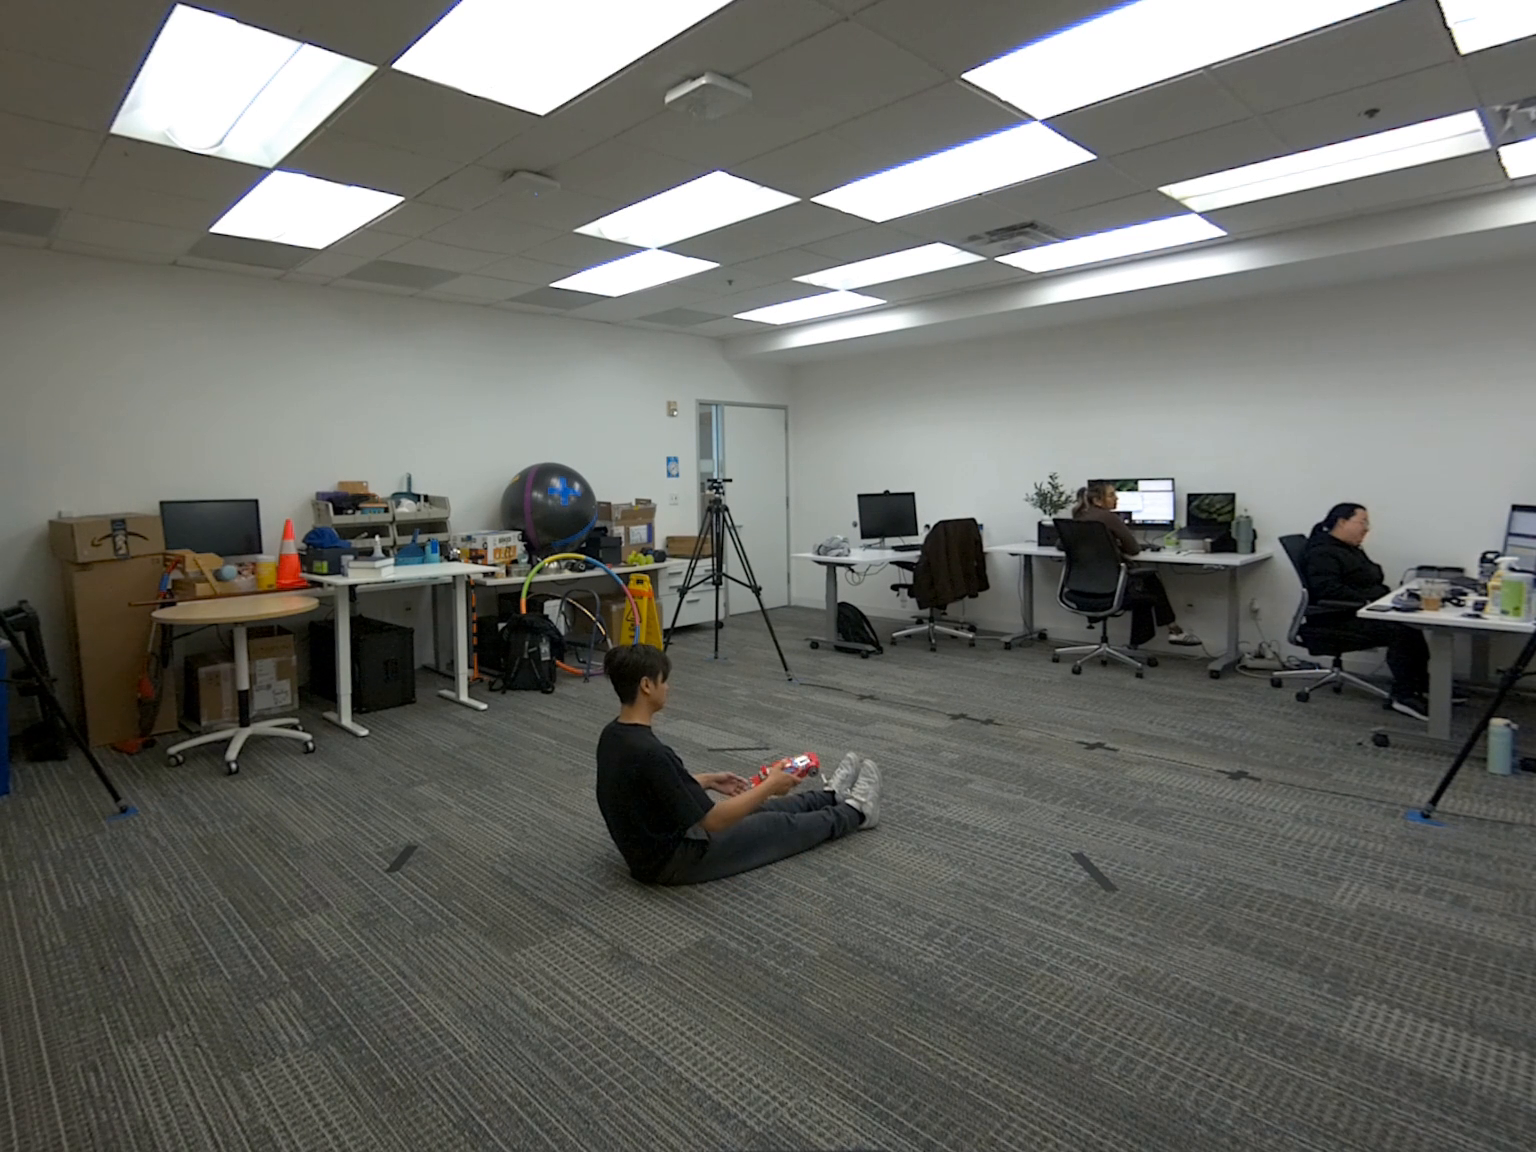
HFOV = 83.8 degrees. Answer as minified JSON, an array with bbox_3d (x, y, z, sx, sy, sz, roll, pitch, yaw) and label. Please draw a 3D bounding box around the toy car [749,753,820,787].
[{"bbox_3d":[0.044,0.706,3.033,0.253,0.082,0.133,-11,15,-7],"label":"toy car"}]
